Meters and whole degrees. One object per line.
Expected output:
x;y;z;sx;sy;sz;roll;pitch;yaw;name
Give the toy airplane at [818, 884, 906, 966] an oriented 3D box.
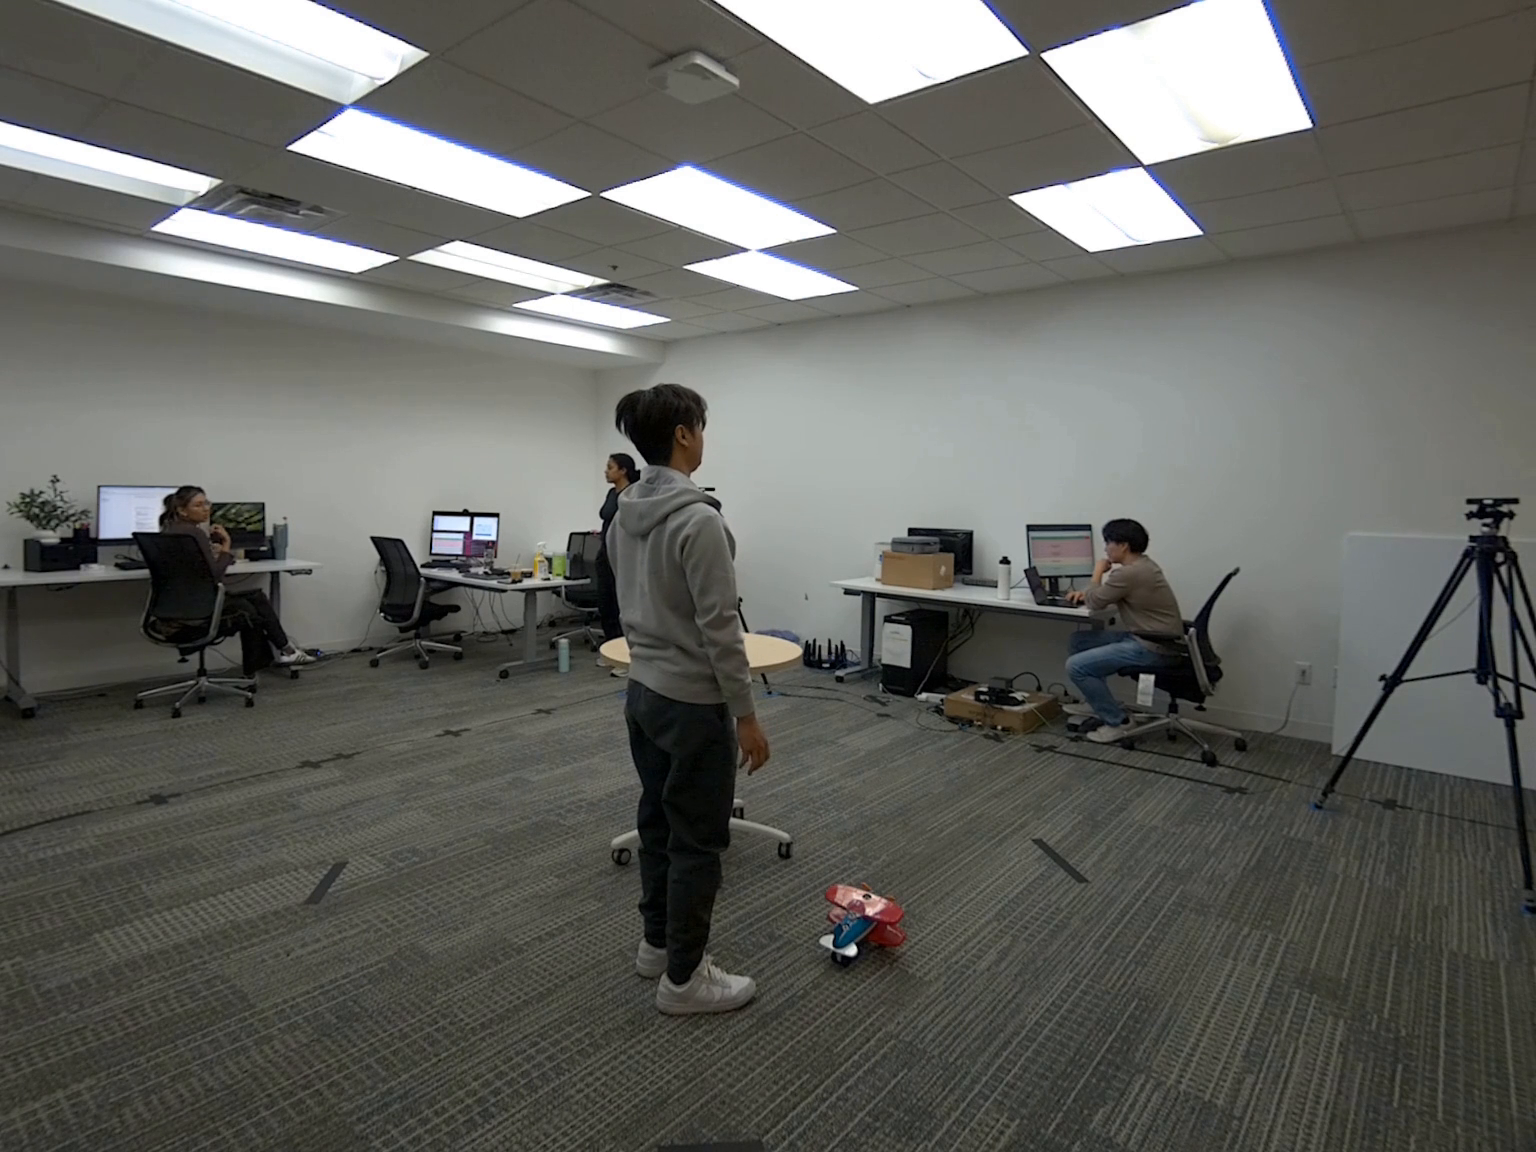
0.285;1.056;2.564;0.254;0.156;0.257;3;4;11;toy airplane
